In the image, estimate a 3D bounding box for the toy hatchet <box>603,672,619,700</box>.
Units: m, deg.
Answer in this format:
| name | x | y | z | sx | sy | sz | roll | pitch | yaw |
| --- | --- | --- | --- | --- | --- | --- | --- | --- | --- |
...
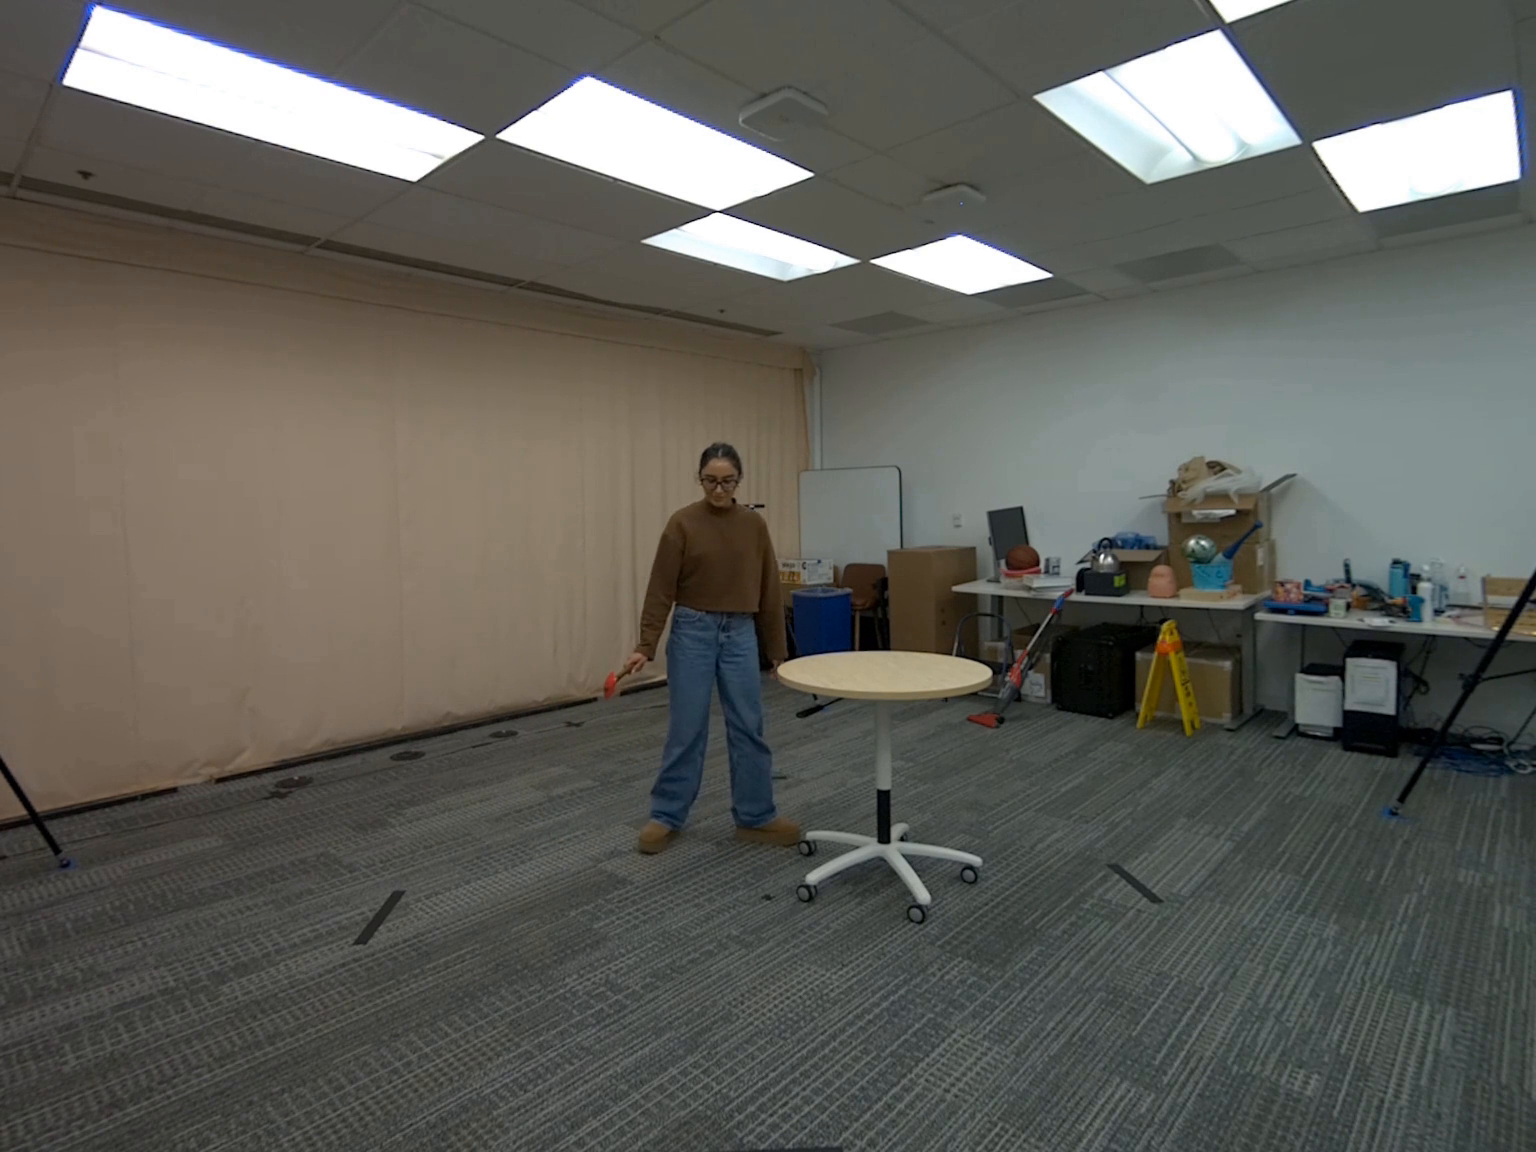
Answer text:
| name | x | y | z | sx | sy | sz | roll | pitch | yaw |
| --- | --- | --- | --- | --- | --- | --- | --- | --- | --- |
| toy hatchet | -0.545 | 0.394 | 3.200 | 0.030 | 0.131 | 0.264 | 25 | 10 | 17 |
